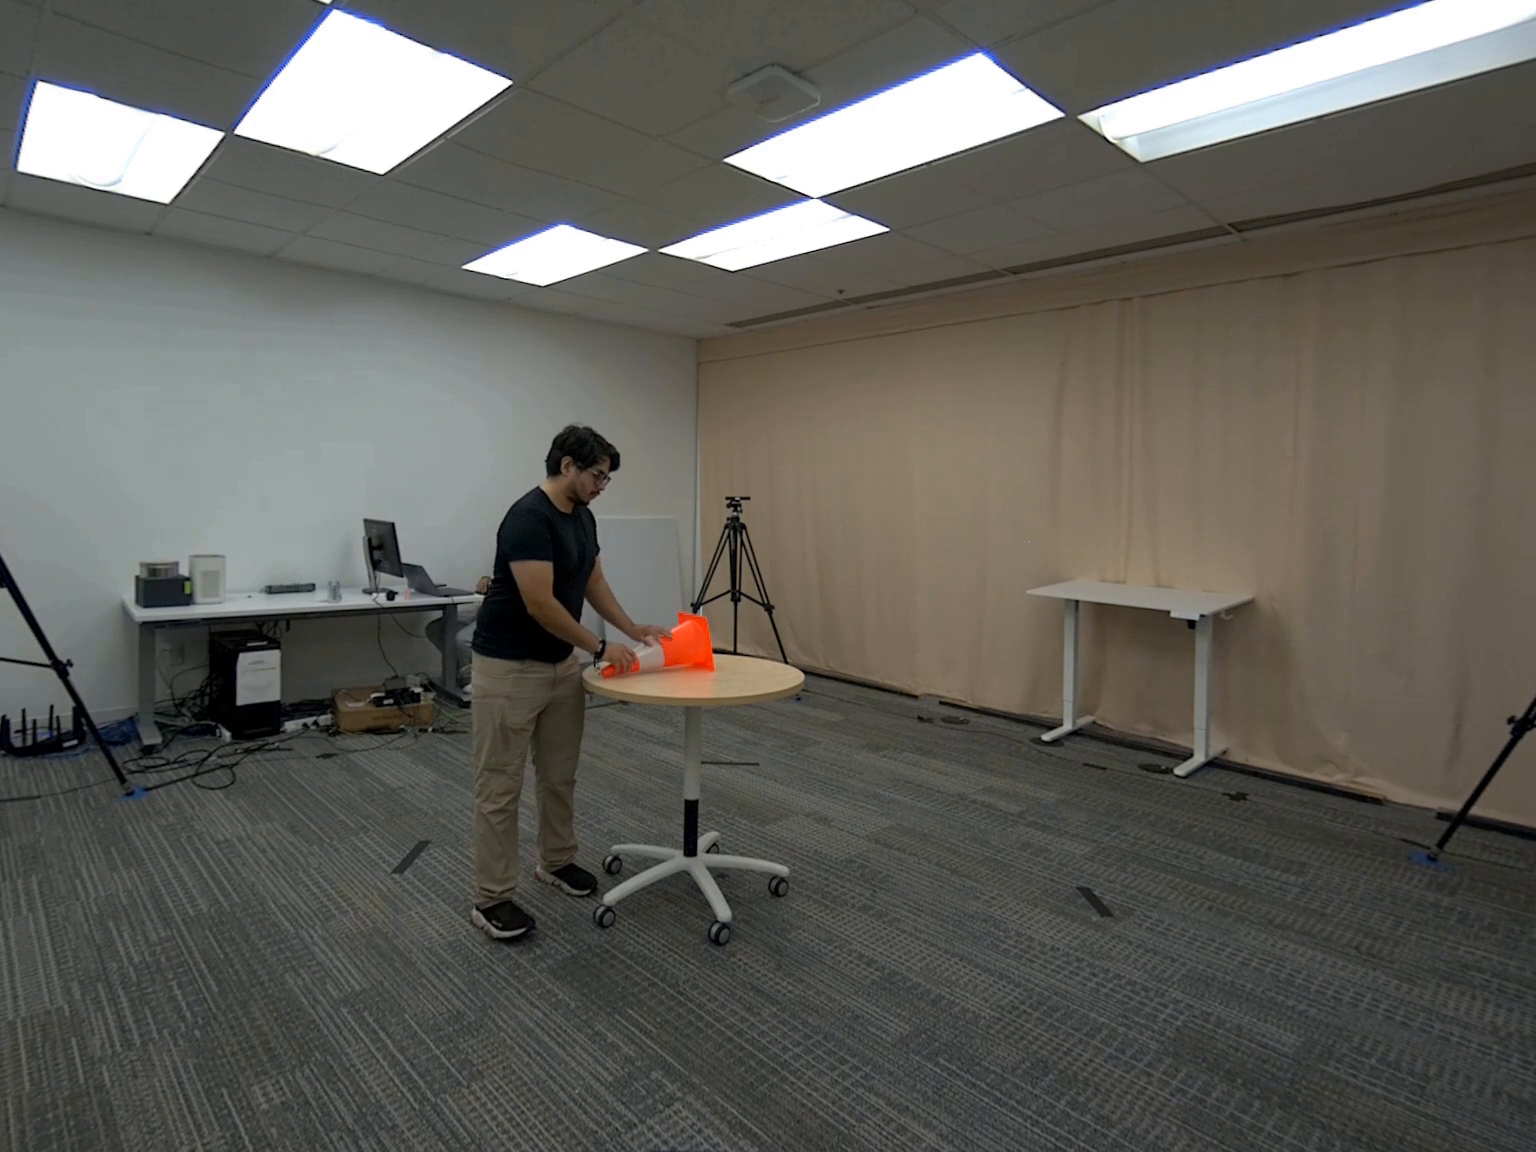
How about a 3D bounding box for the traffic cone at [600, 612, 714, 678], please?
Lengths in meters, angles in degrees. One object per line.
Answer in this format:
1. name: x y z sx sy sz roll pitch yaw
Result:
1. traffic cone: -0.407 0.290 2.907 0.378 0.203 0.208 -21 14 -34
